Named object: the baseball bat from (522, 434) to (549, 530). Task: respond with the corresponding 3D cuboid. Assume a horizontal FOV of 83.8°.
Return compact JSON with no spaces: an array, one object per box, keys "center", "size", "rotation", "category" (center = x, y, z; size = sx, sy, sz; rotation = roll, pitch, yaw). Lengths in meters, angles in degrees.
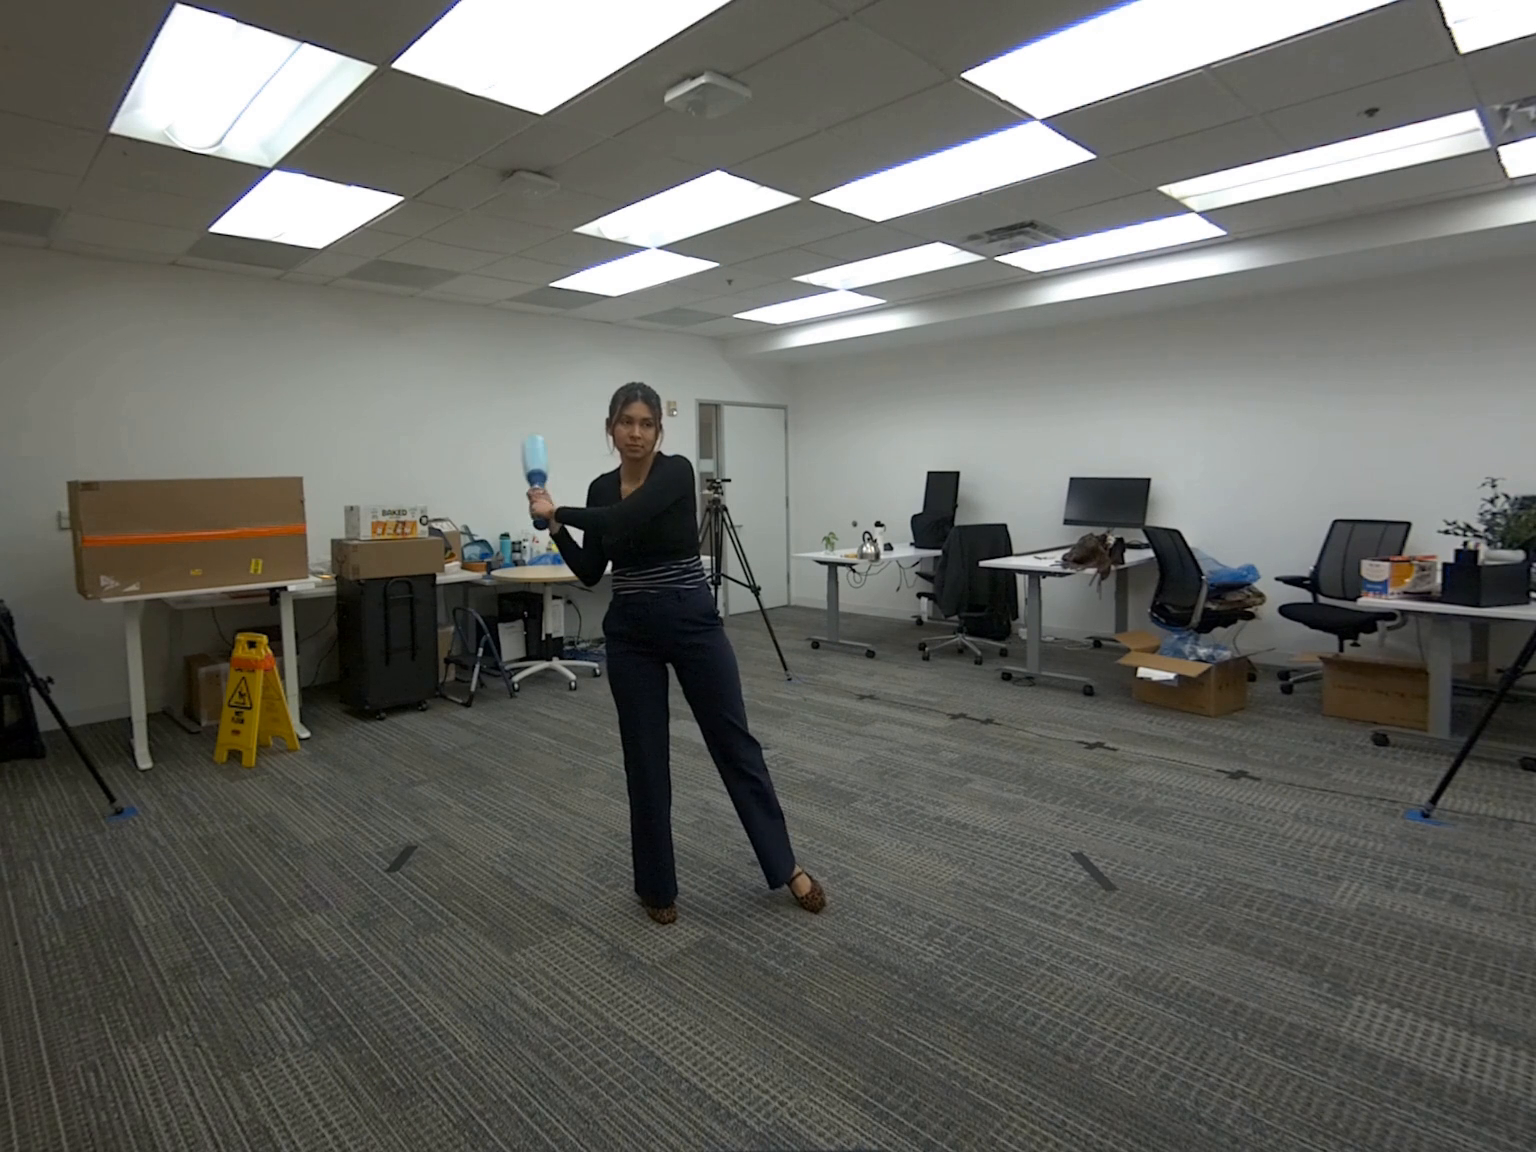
[{"center":[-0.751,-0.283,2.841],"size":[0.088,0.087,0.562],"rotation":[-3,36,-16],"category":"baseball bat"}]
